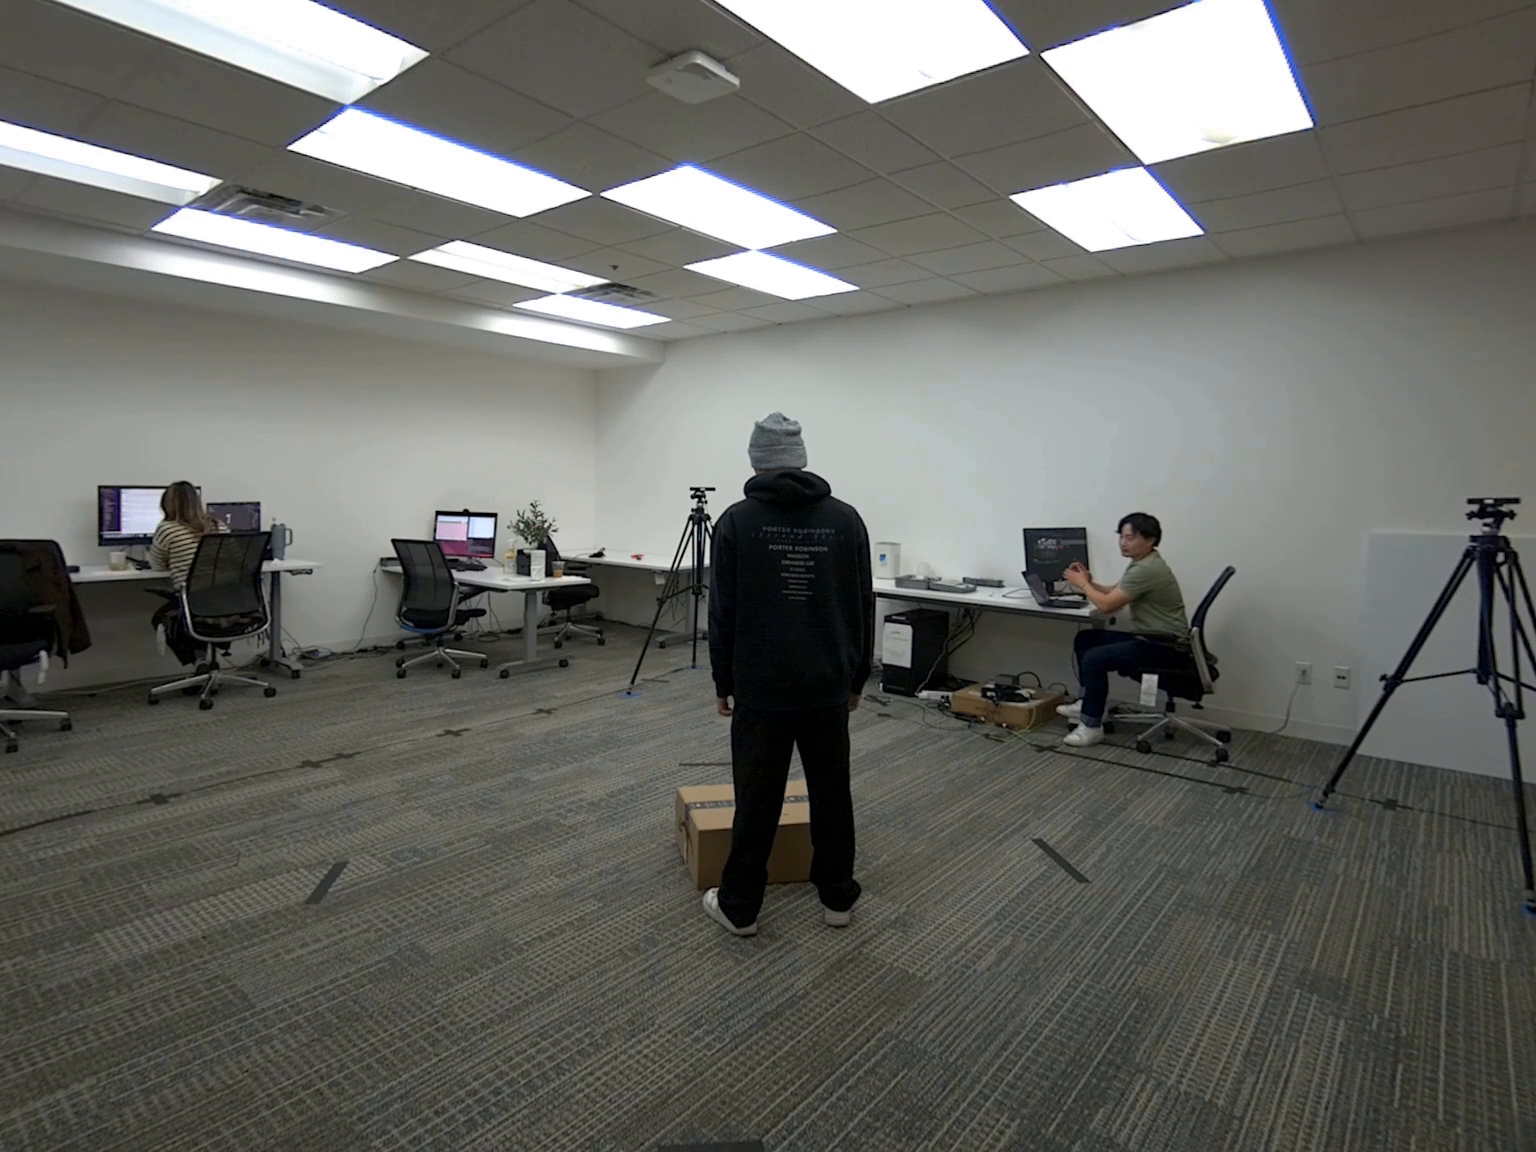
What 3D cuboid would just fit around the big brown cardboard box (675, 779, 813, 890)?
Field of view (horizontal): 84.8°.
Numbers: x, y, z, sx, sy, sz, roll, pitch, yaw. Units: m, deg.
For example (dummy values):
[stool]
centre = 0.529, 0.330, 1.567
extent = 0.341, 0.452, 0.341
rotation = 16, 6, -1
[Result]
[big brown cardboard box]
centre = -0.036, 0.950, 3.185
extent = 0.581, 0.232, 0.425
rotation = 1, 6, -14
